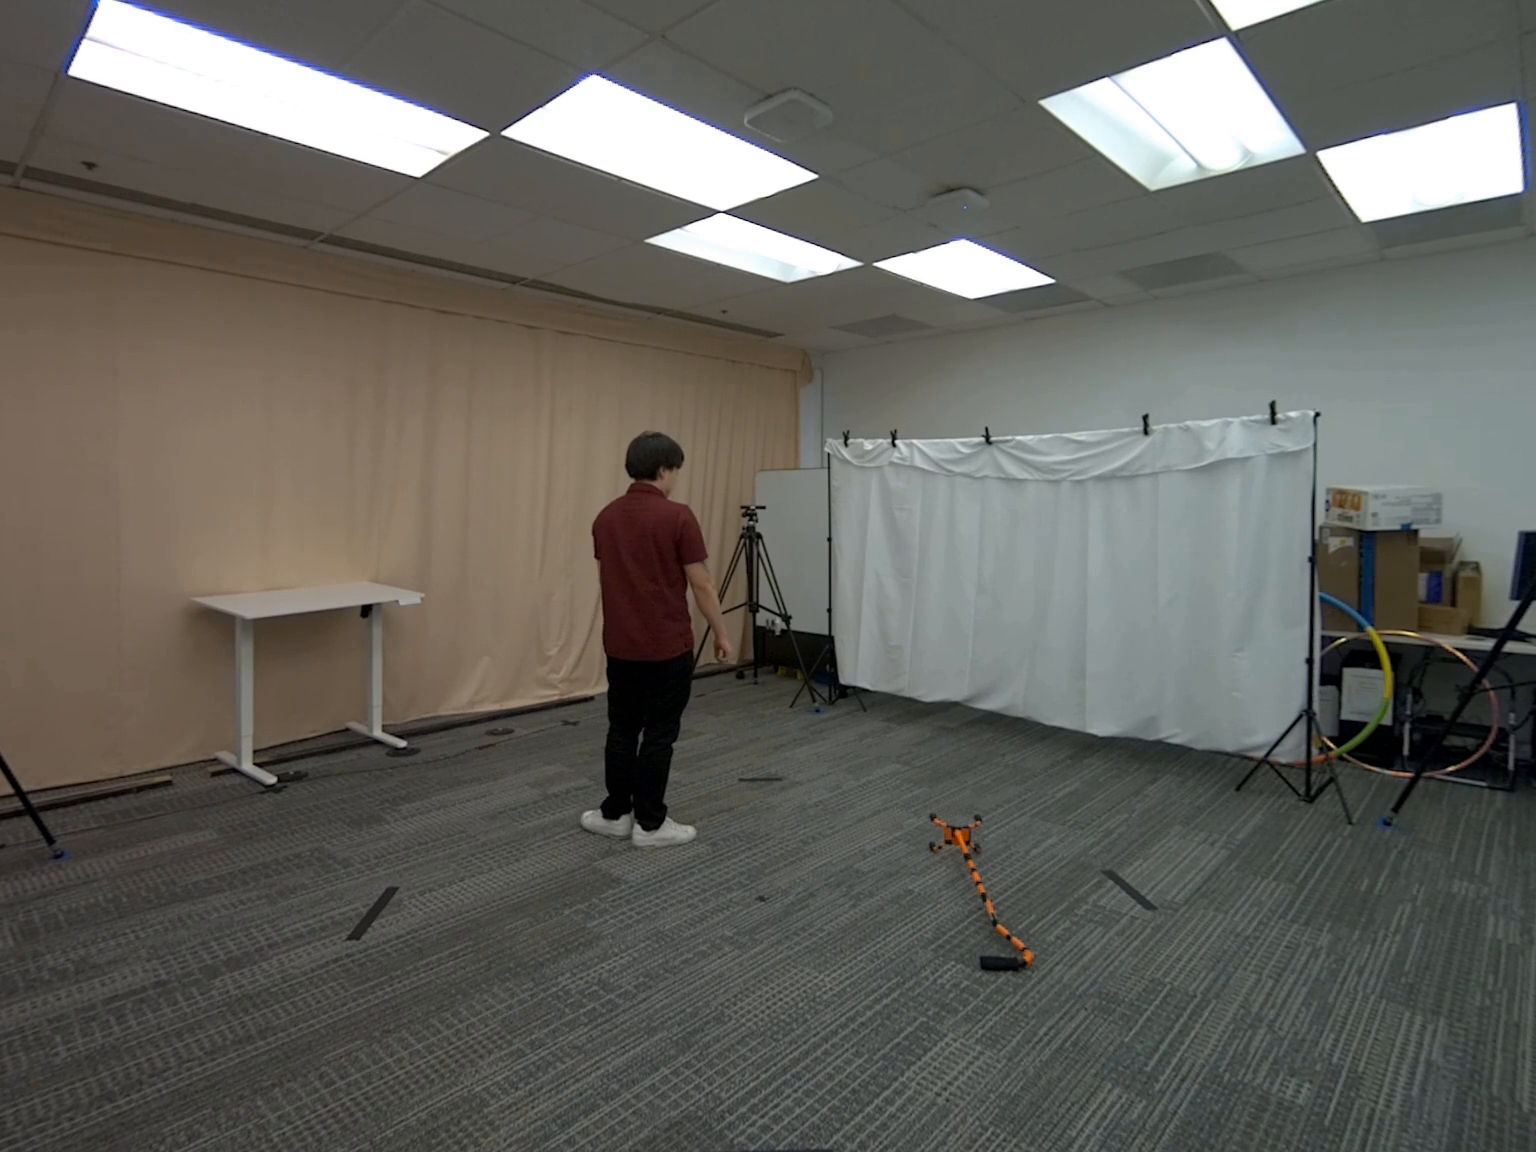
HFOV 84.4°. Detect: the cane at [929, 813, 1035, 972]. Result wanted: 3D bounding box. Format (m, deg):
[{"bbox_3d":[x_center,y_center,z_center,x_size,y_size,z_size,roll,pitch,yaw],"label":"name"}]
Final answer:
[{"bbox_3d":[0.750,1.099,2.954,0.207,0.151,0.910,0,9,1],"label":"cane"}]
